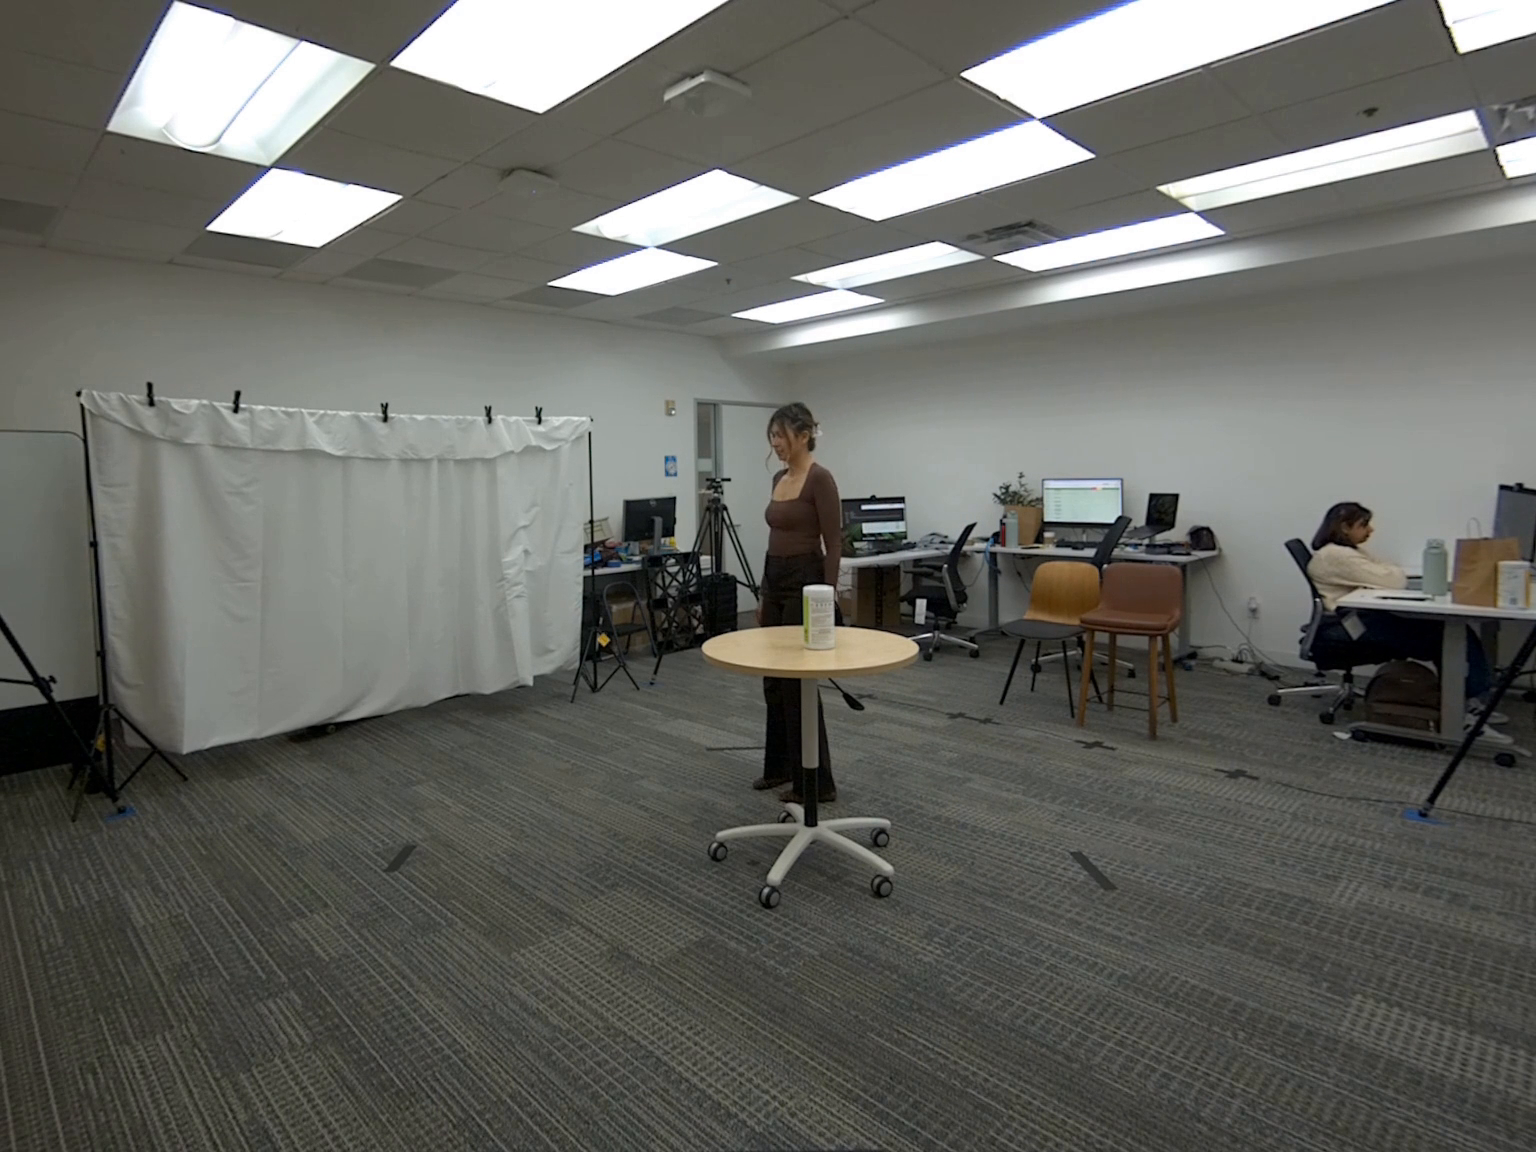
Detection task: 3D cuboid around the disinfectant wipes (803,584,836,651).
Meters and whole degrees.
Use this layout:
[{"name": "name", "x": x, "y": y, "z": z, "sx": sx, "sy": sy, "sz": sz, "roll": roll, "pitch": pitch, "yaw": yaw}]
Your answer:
[{"name": "disinfectant wipes", "x": 0.186, "y": 0.148, "z": 3.003, "sx": 0.118, "sy": 0.216, "sz": 0.118, "roll": -2, "pitch": 5, "yaw": -1}]
